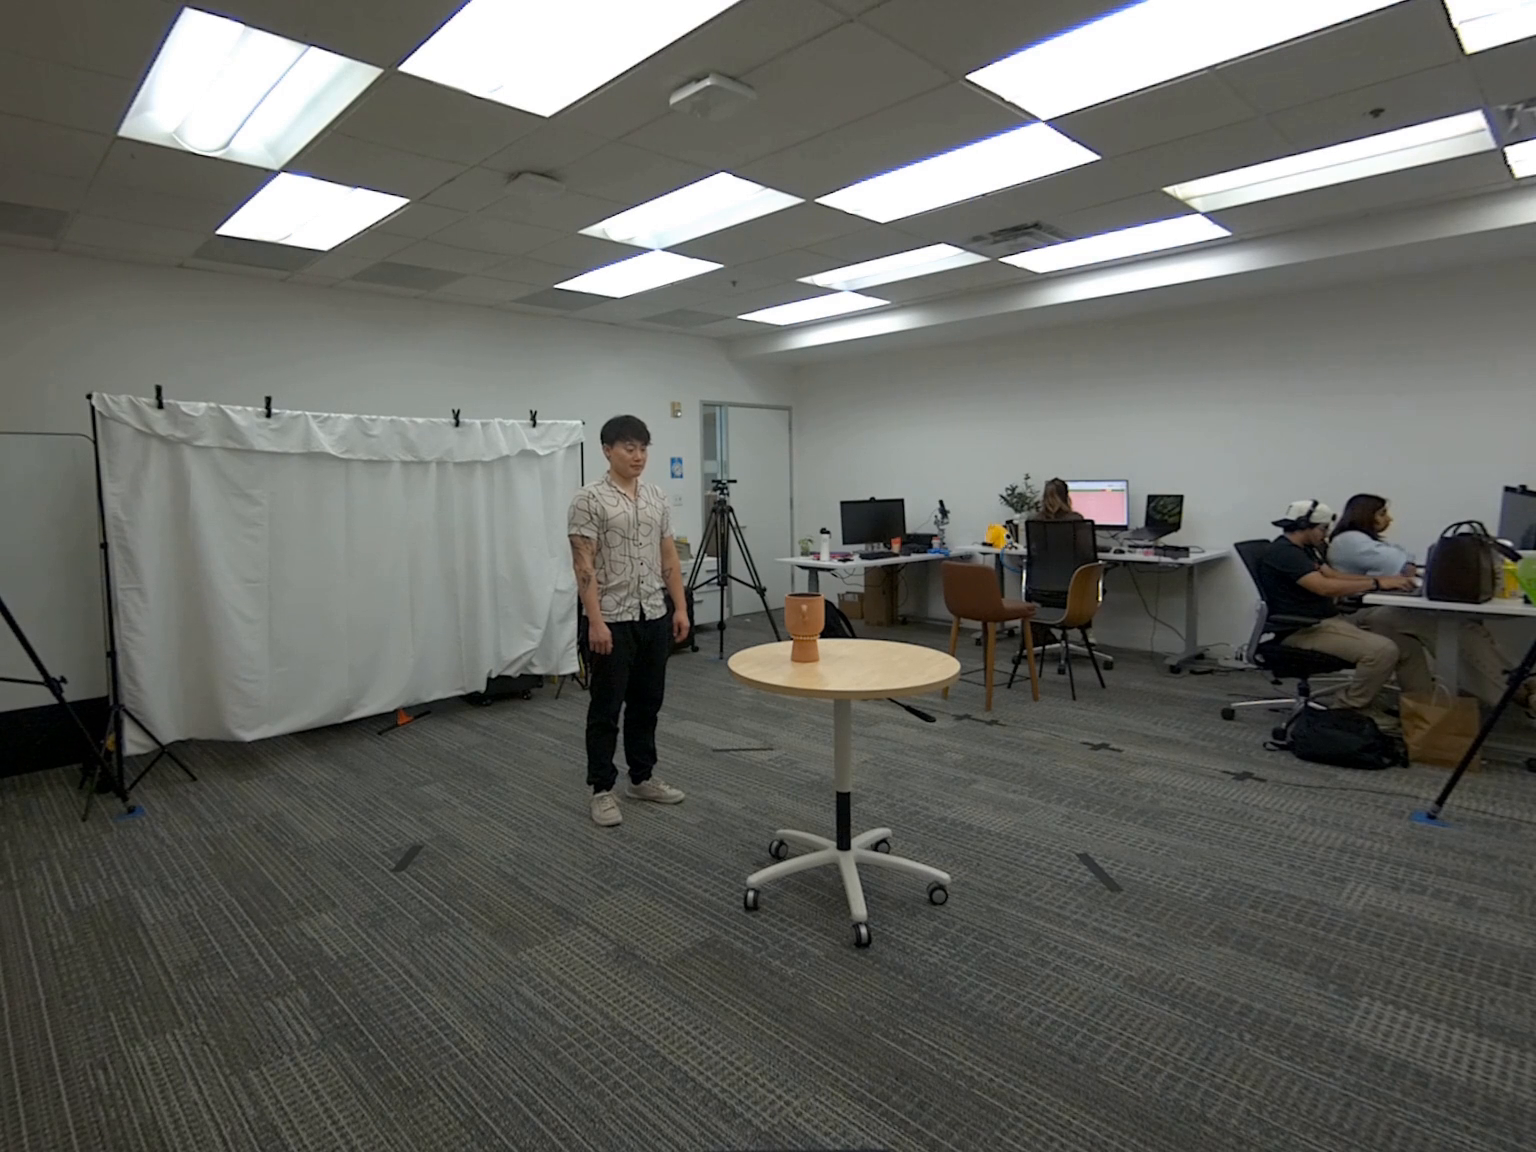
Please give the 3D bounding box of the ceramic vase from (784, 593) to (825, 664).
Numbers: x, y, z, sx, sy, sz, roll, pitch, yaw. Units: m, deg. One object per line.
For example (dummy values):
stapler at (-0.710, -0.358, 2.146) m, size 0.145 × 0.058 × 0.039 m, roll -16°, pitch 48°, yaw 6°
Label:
ceramic vase at (0.127, 0.176, 2.887) m, size 0.139 × 0.219 × 0.155 m, roll 4°, pitch 7°, yaw 44°
